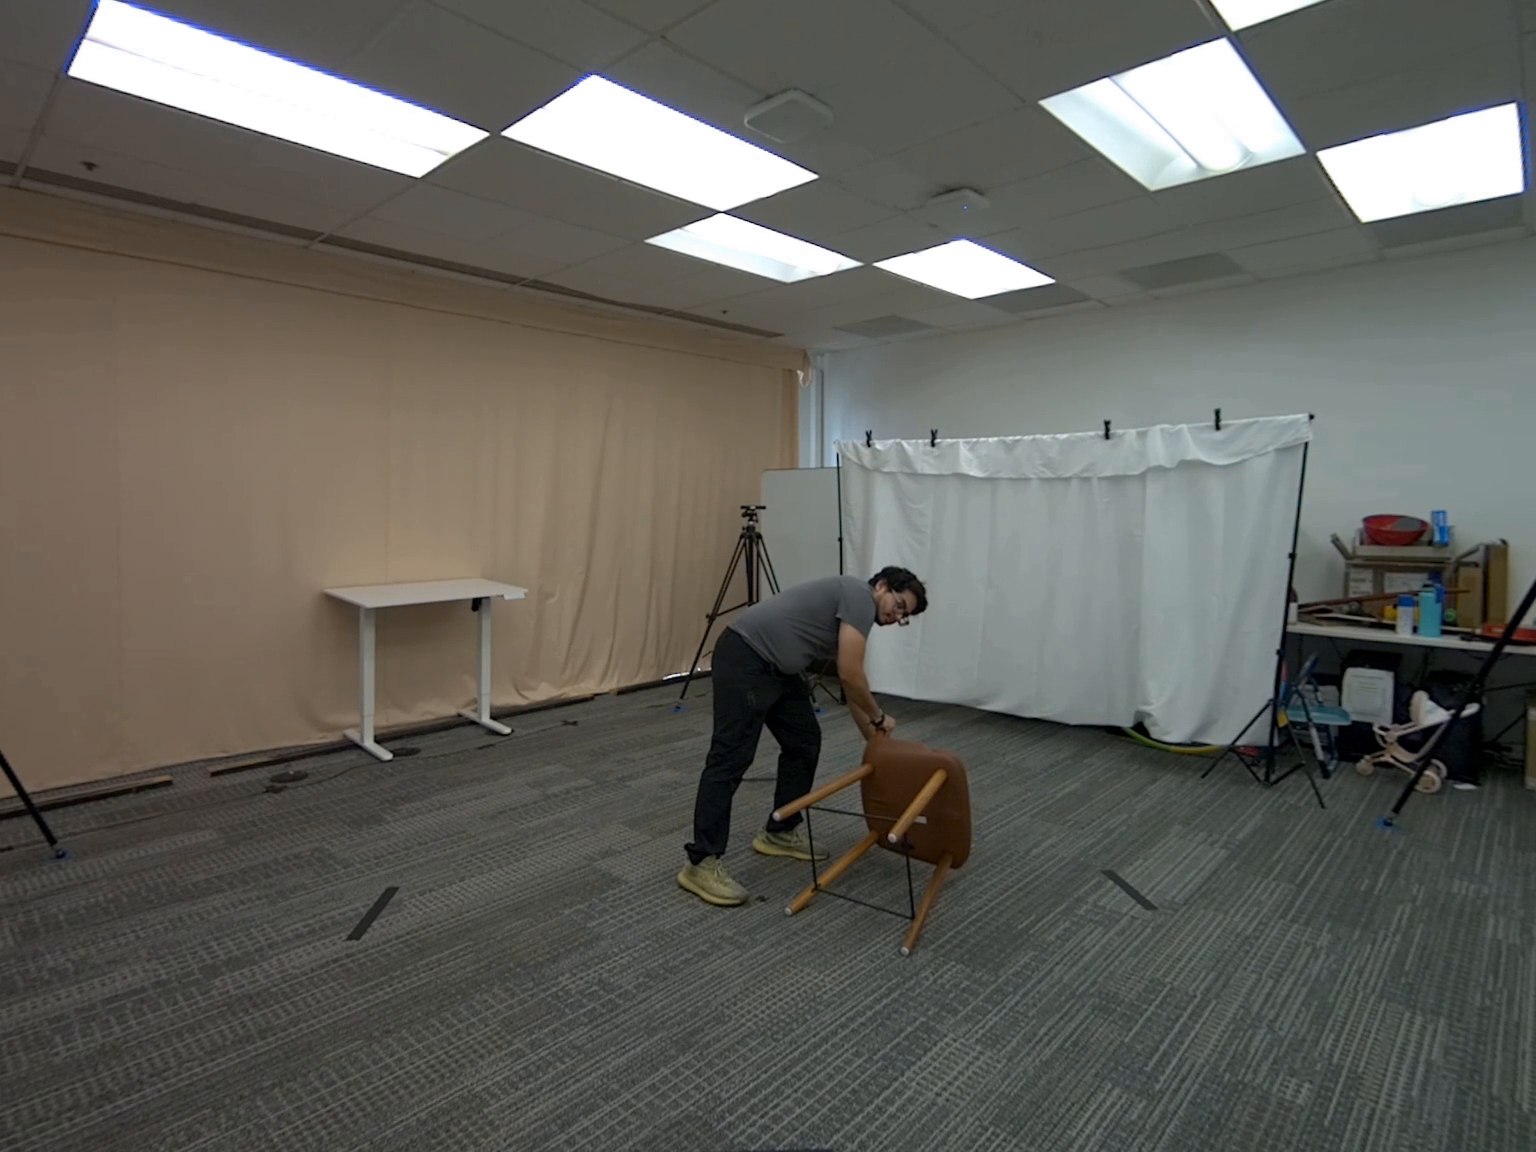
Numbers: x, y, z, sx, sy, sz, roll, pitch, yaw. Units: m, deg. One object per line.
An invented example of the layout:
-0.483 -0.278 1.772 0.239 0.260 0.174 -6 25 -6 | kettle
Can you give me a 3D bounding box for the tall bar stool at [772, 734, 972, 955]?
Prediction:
0.459 0.876 3.044 0.481 0.453 0.870 -1 13 33 | tall bar stool
